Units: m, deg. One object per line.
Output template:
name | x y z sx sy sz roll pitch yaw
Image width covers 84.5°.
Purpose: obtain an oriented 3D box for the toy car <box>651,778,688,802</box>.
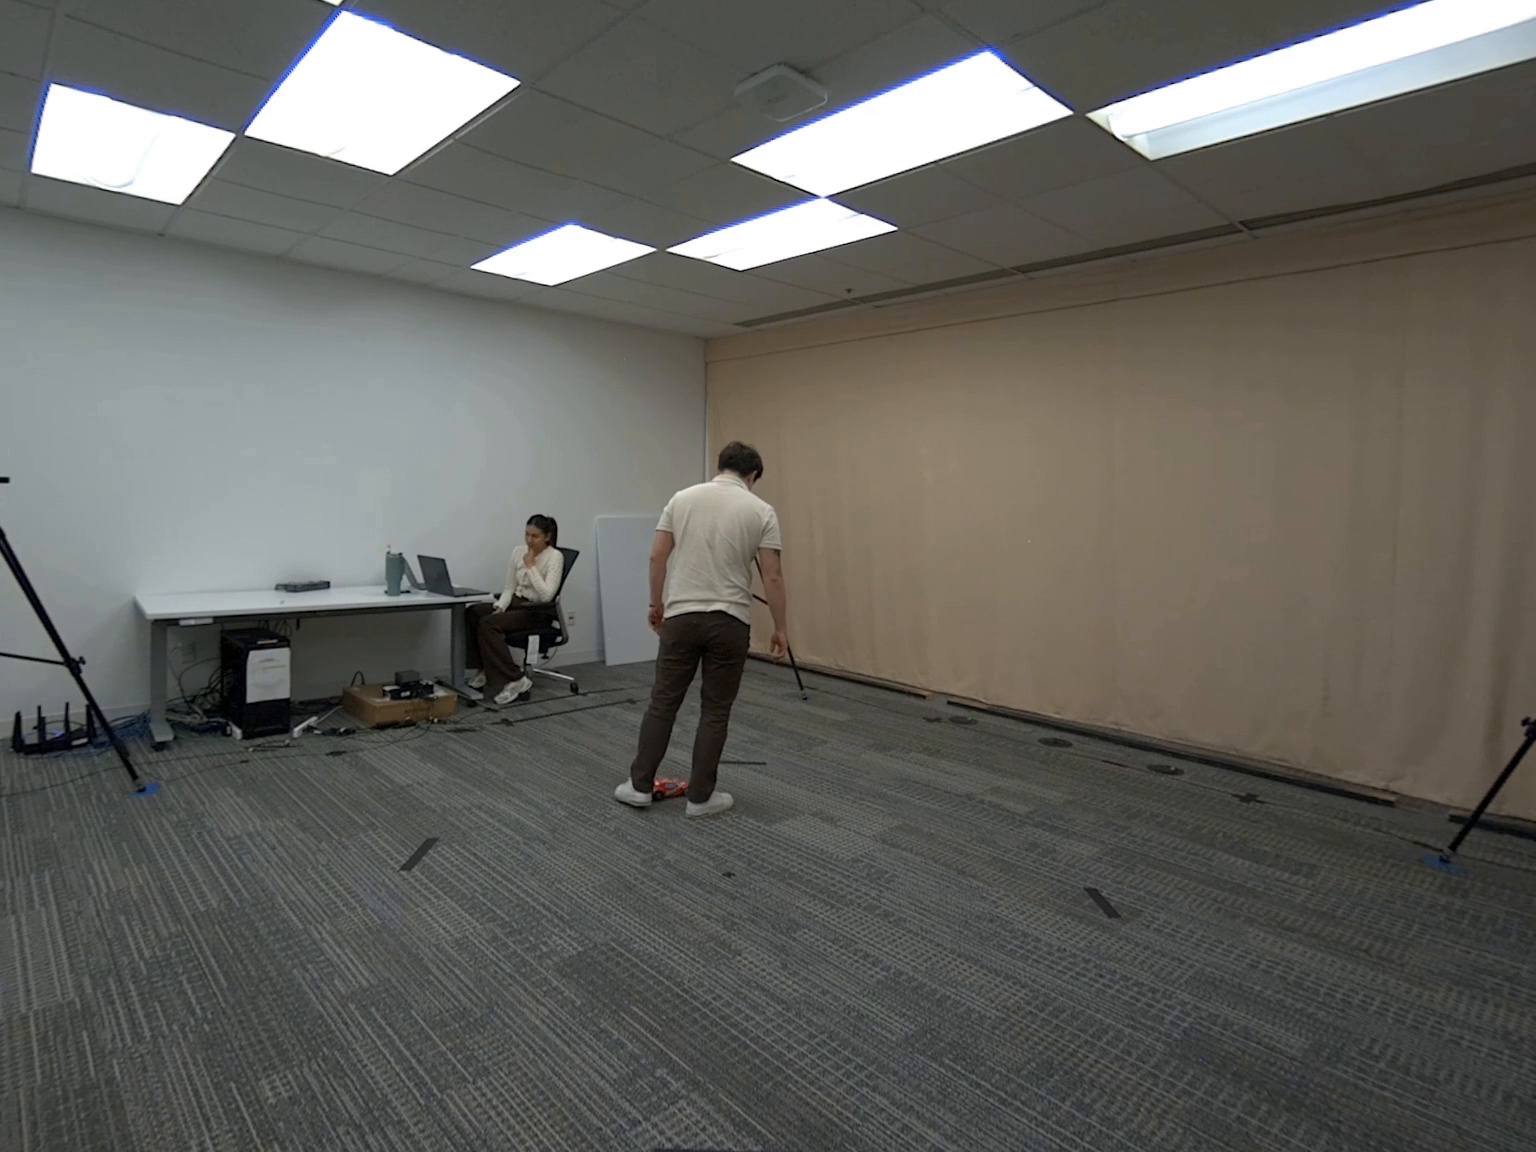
toy car | -0.489 0.990 3.920 0.249 0.083 0.133 11 -1 -27
